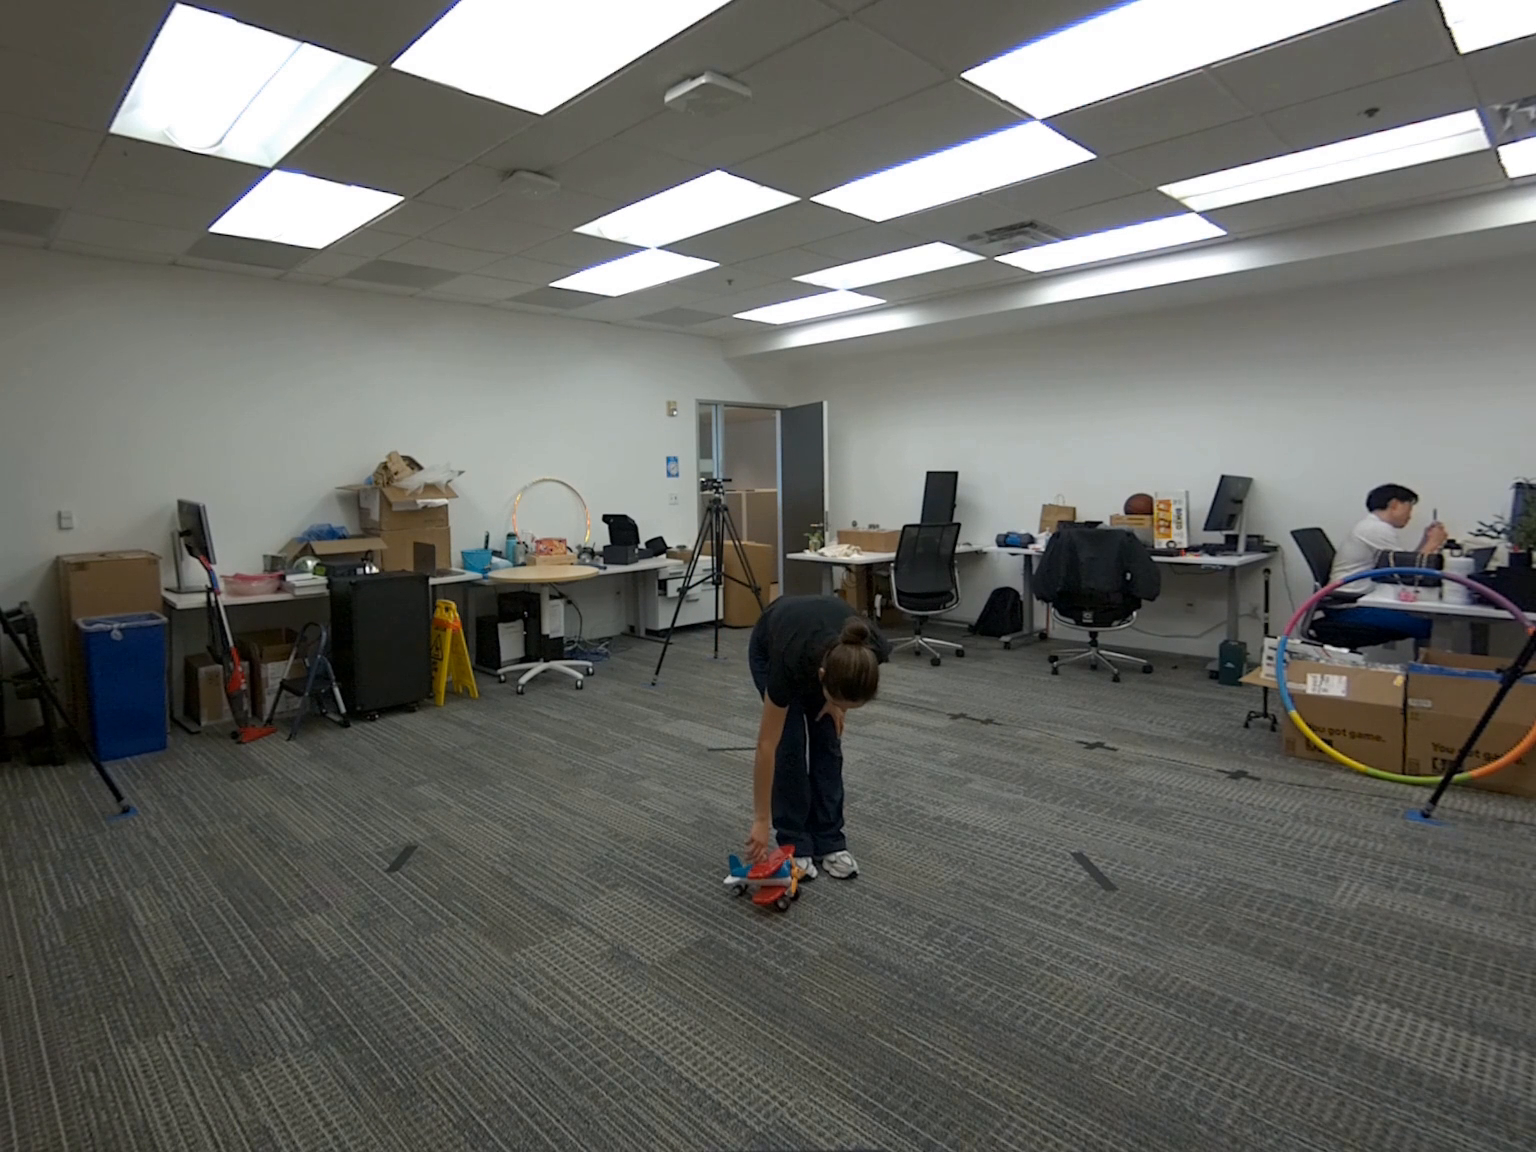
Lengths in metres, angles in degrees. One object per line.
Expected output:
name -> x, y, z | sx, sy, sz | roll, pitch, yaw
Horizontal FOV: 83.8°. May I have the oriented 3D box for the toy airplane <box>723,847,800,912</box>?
toy airplane -> -0.017, 1.007, 2.830 | 0.259, 0.155, 0.252 | 0, 7, 0
